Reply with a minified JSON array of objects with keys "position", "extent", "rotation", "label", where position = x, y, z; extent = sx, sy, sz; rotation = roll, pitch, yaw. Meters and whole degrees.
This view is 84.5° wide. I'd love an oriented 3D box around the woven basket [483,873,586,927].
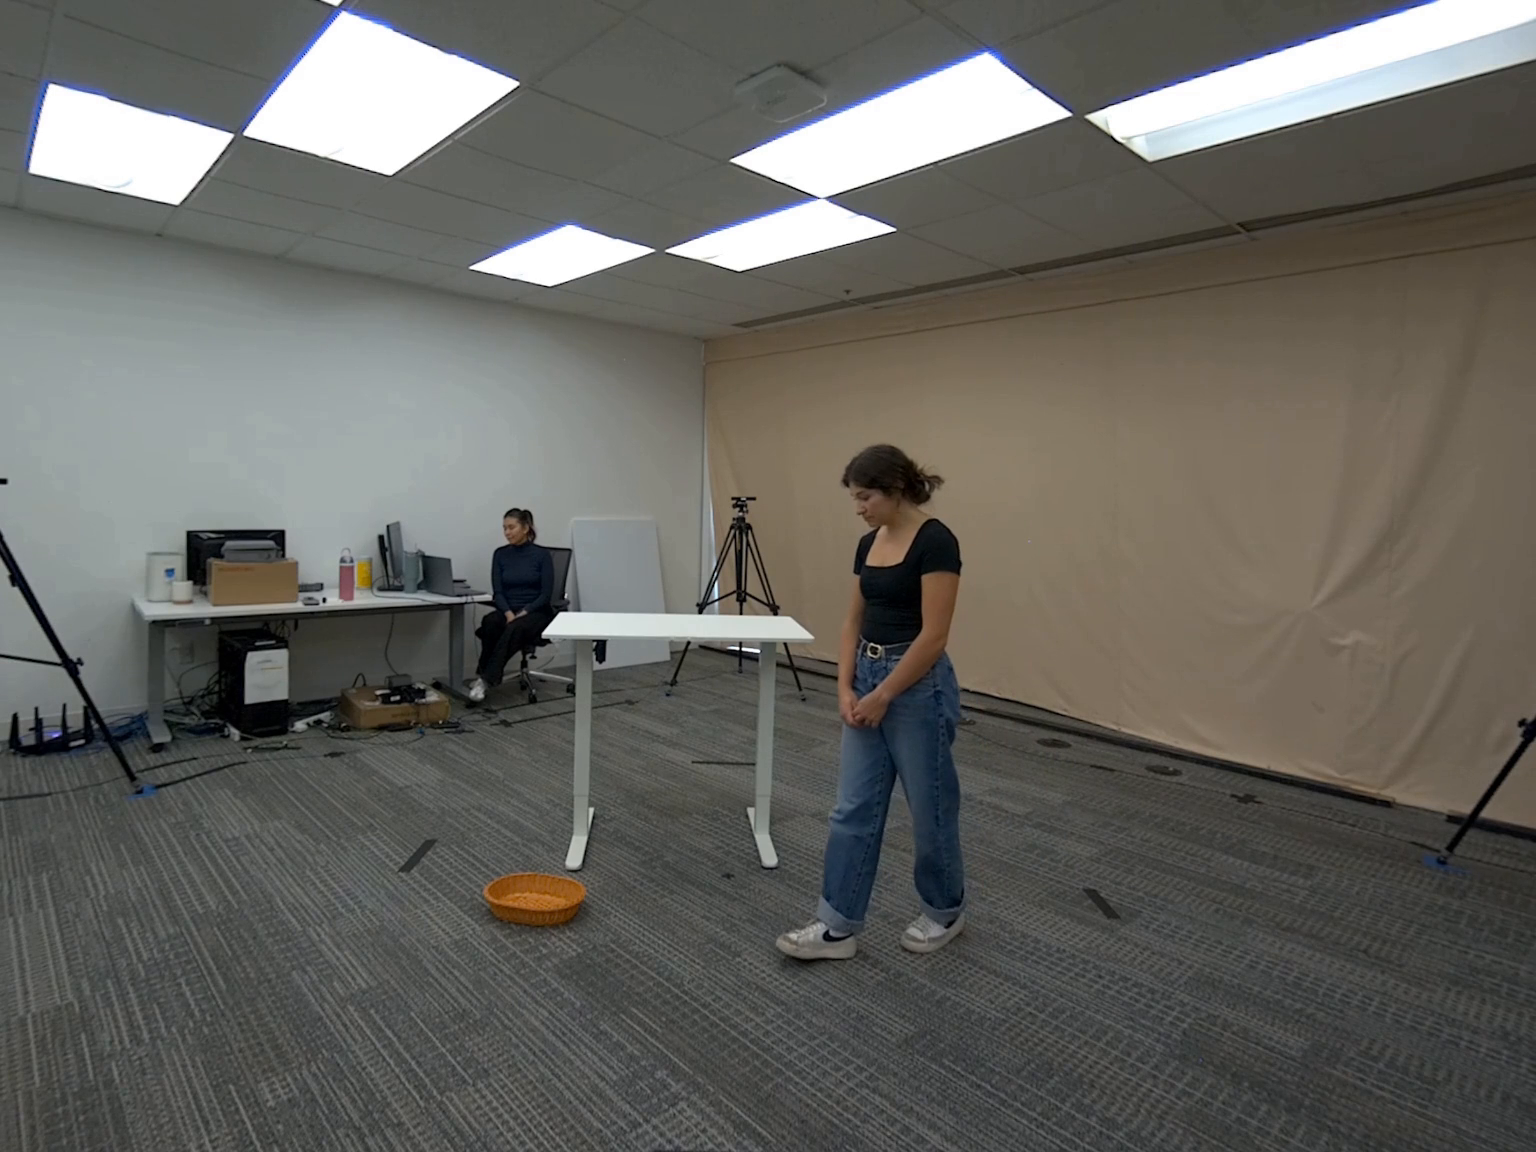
[{"position":[-0.783,1.082,2.812],"extent":[0.355,0.073,0.249],"rotation":[3,4,16],"label":"woven basket"}]
